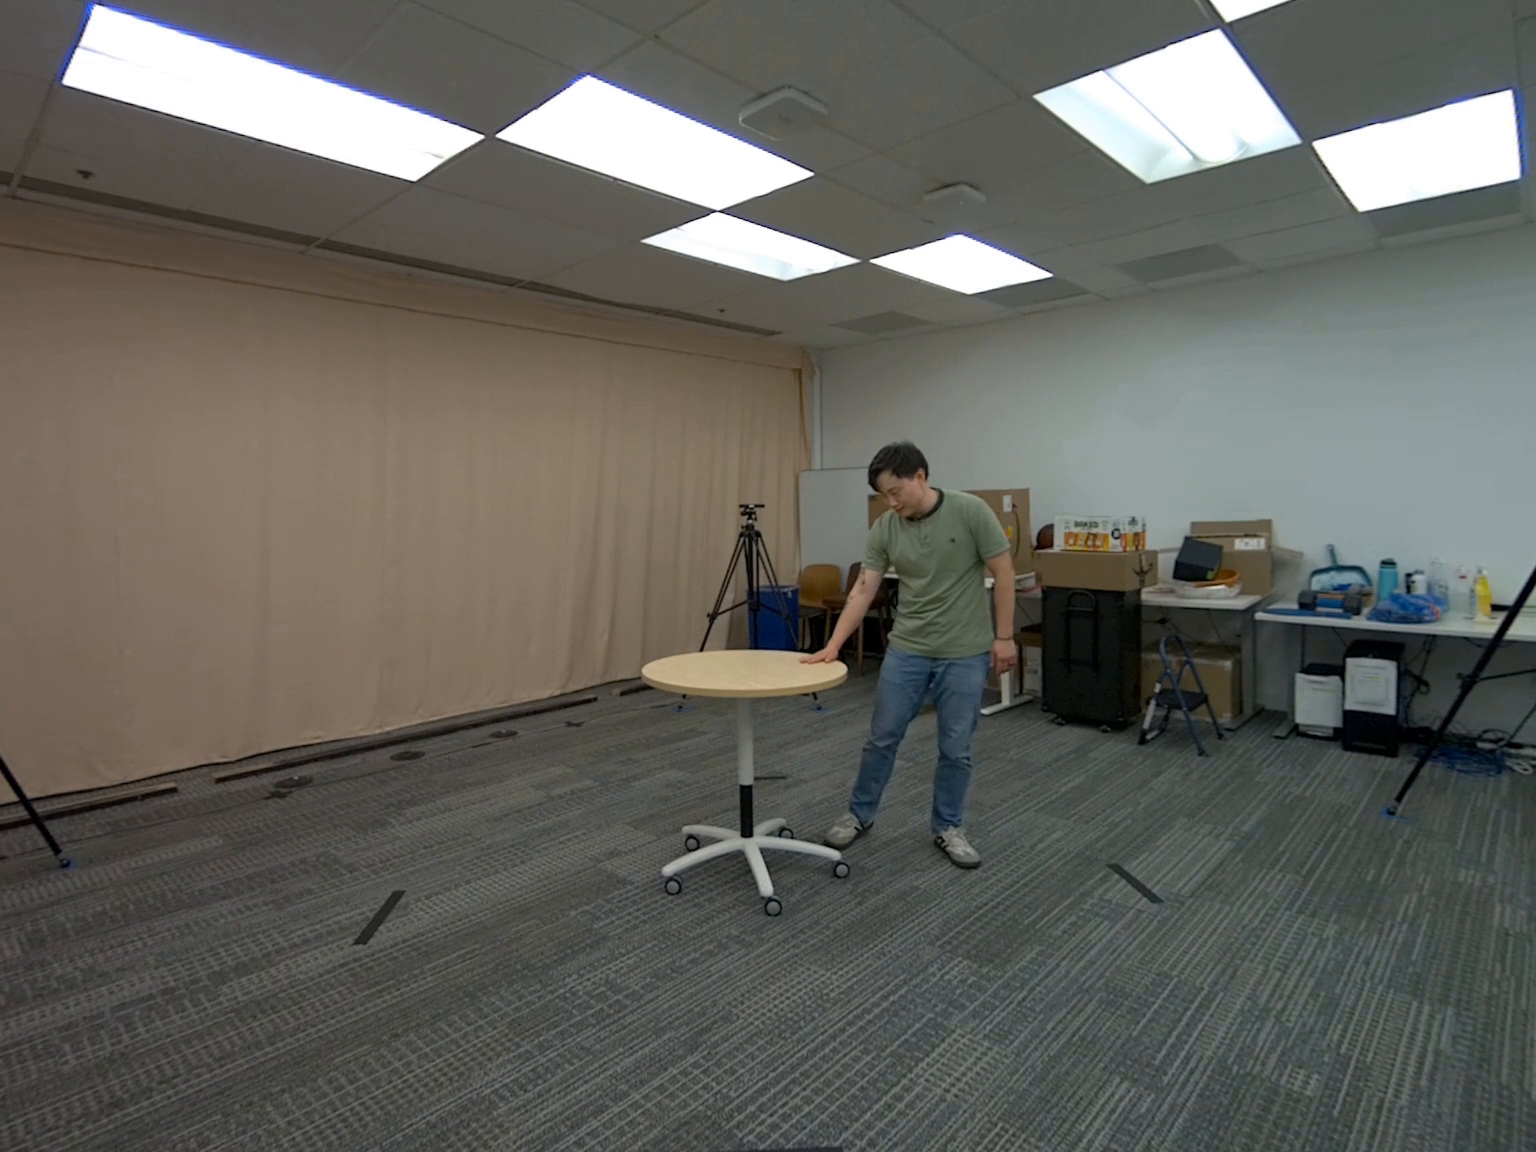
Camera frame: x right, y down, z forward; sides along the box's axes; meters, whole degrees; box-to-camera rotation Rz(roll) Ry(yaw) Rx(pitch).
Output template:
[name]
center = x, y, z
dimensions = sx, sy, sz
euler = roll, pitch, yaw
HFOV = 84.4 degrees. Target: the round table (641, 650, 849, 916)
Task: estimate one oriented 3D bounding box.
[round table]
center = -0.081, 0.736, 3.169
dimensions = 0.763, 0.792, 0.766
euler = -1, 4, -2
